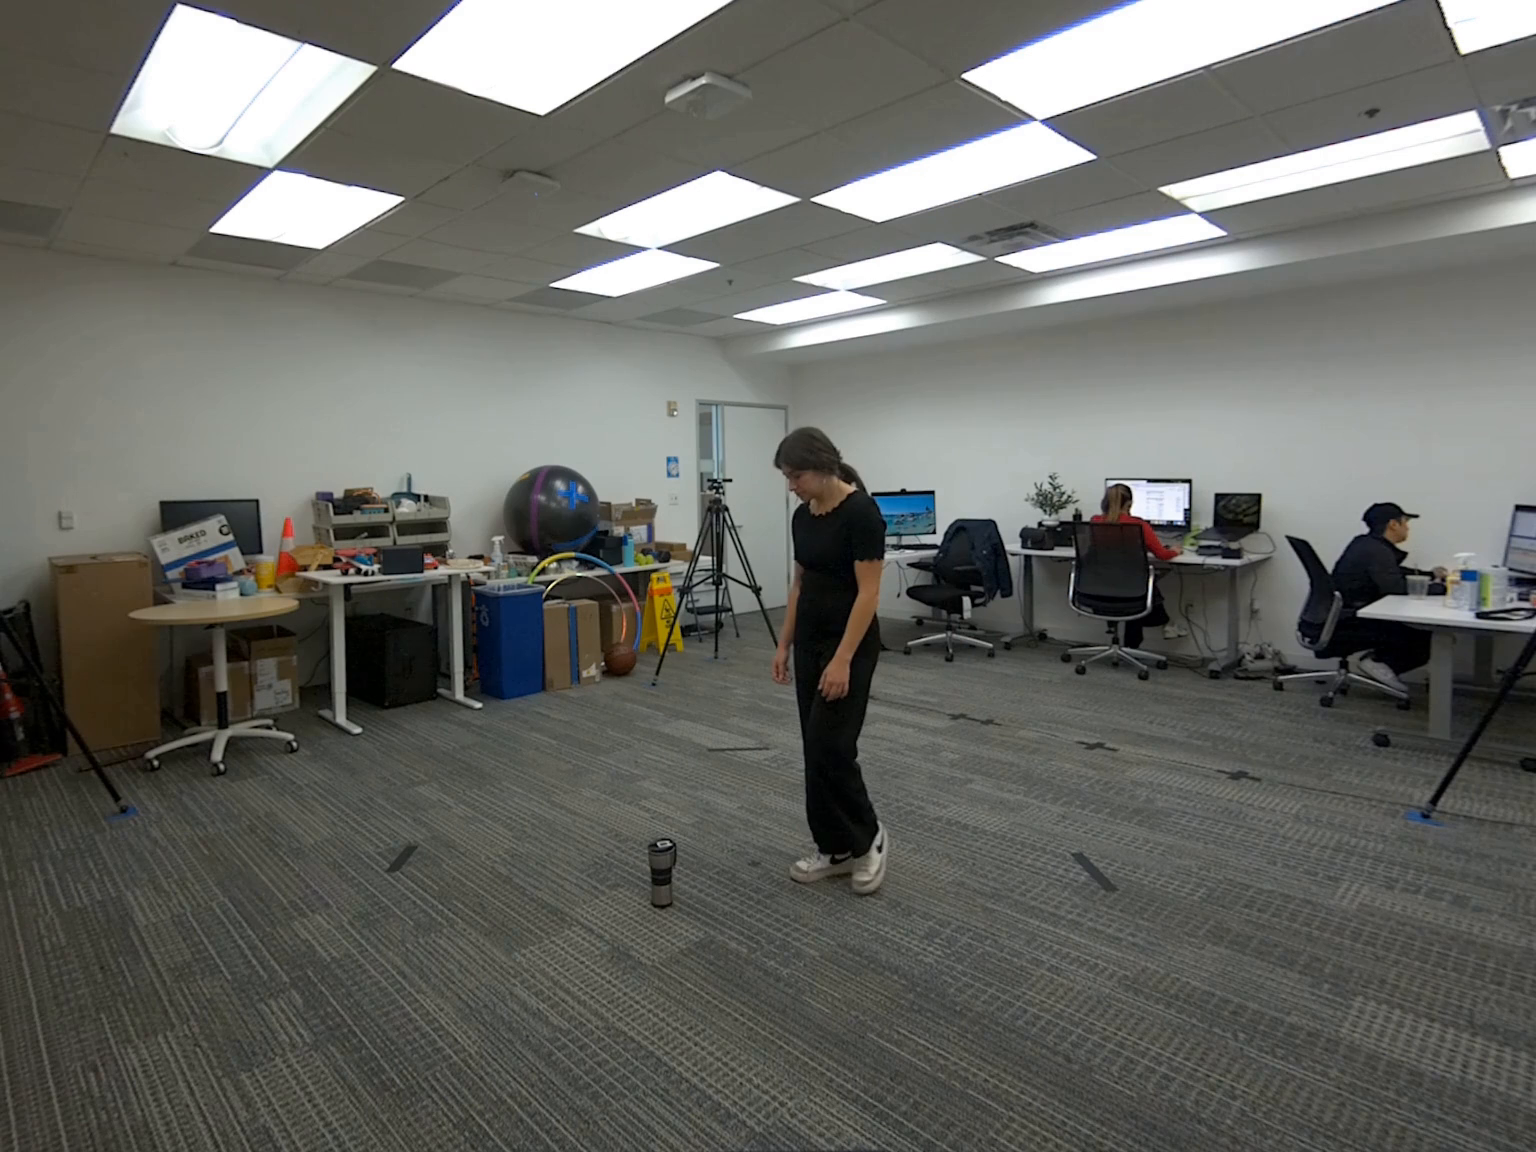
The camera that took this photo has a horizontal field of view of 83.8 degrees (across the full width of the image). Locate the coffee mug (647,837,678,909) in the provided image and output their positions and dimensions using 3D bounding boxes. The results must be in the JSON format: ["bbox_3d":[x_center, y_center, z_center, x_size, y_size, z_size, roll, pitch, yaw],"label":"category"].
[{"bbox_3d":[-0.330,0.982,2.832,0.090,0.202,0.119,-3,5,38],"label":"coffee mug"}]
